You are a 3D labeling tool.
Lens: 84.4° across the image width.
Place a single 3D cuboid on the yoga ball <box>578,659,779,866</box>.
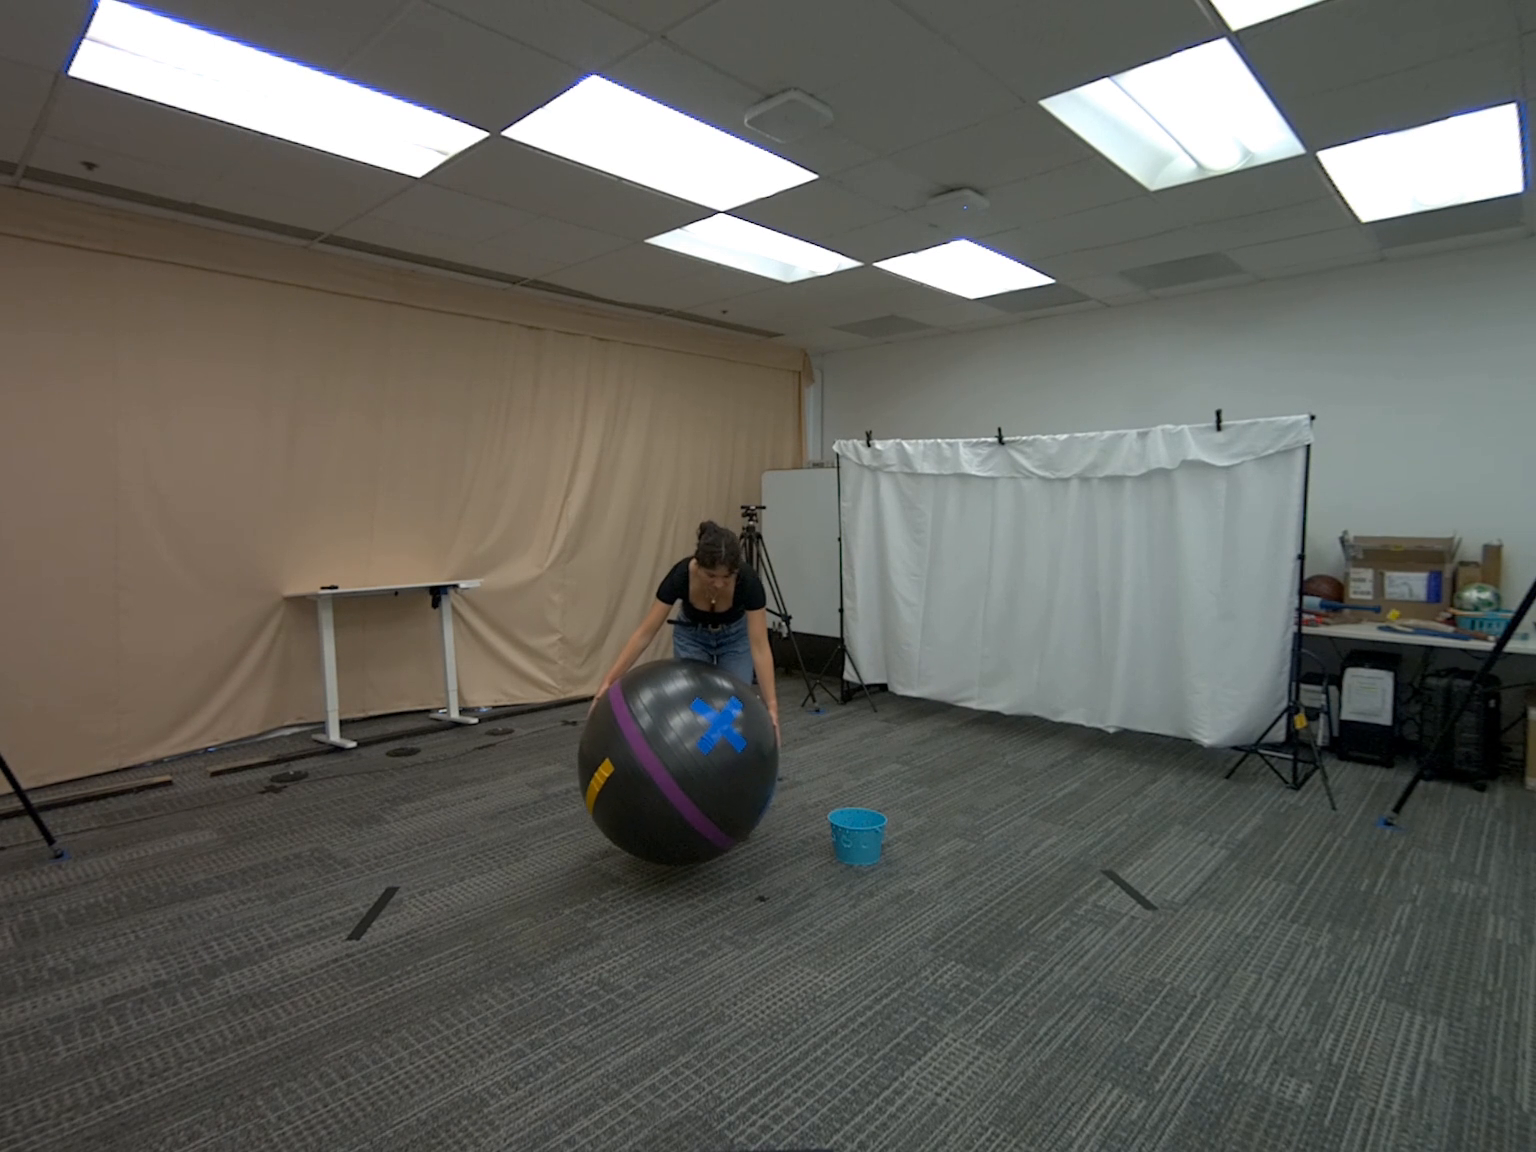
[{"bbox_3d":[-0.324,0.689,3.165,0.757,0.756,0.760,0,4,-2],"label":"yoga ball"}]
